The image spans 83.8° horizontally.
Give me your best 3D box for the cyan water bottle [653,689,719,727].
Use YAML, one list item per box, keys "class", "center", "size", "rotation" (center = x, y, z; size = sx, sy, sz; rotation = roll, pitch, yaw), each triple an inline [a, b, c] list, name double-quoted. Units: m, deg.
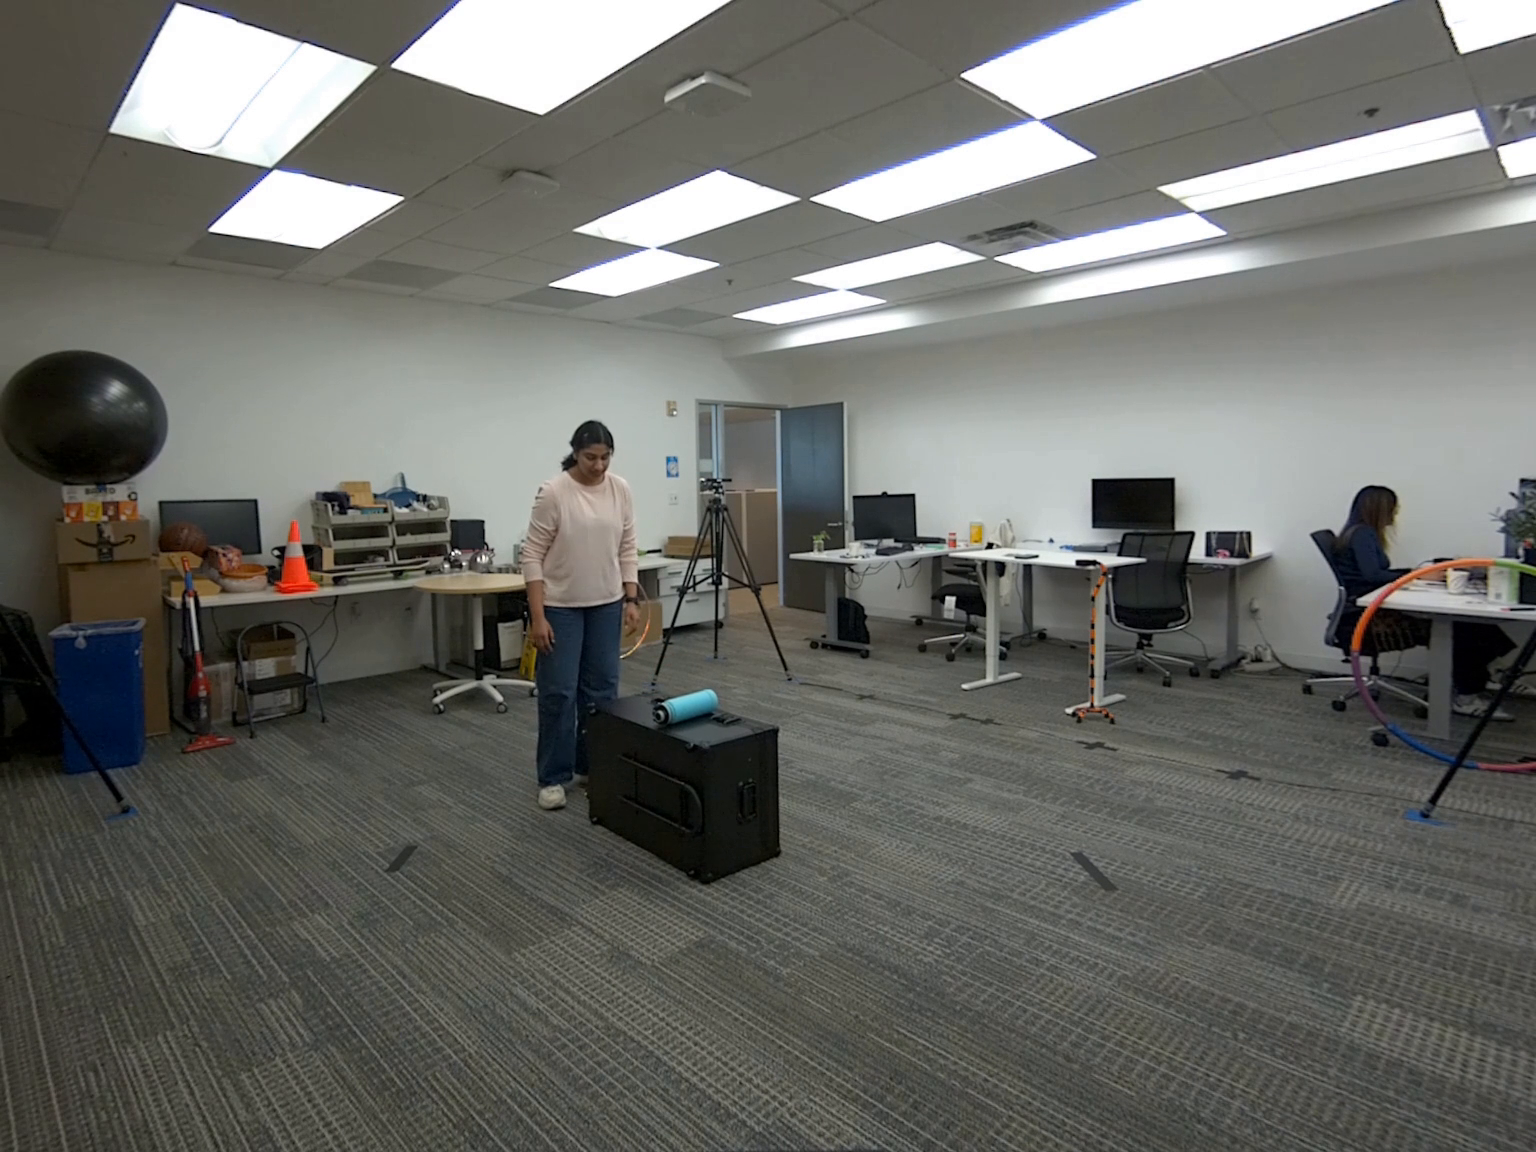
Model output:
- class: "cyan water bottle"
  center: [-0.318, 0.501, 3.262]
  size: [0.095, 0.092, 0.276]
  rotation: [4, 9, 45]
